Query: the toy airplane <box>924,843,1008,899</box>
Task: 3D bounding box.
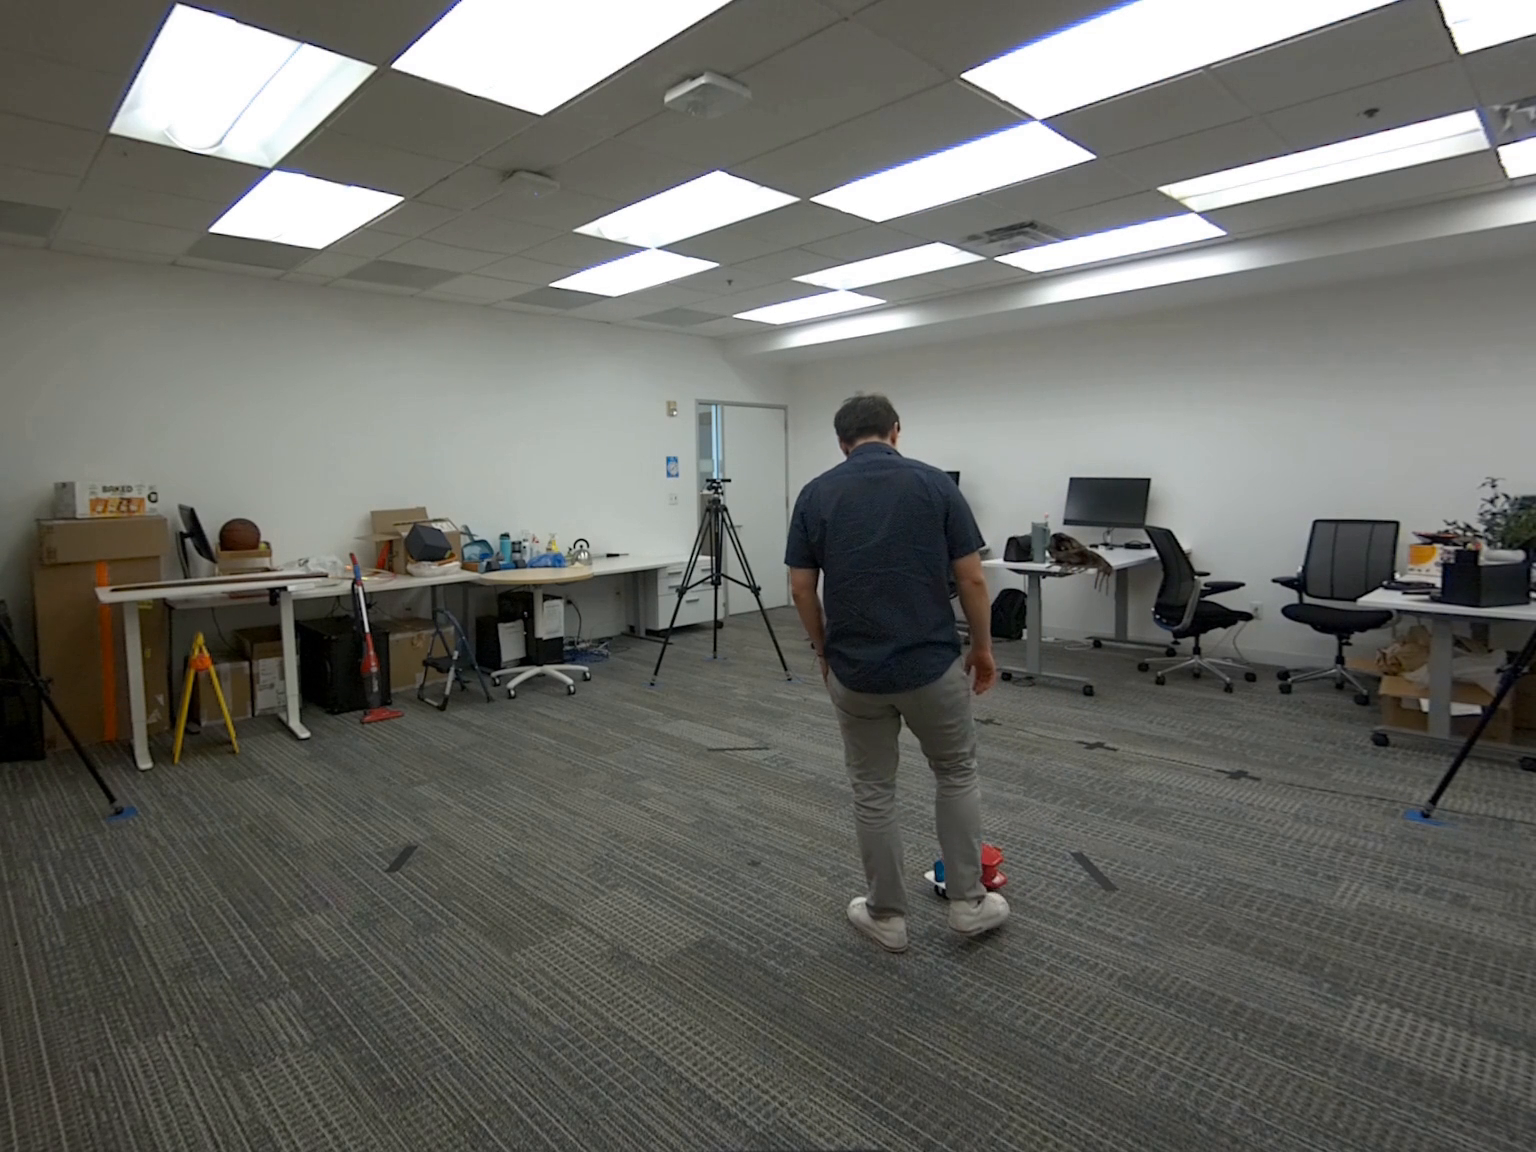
[{"bbox_3d":[0.677,0.986,2.862,0.258,0.156,0.253,3,6,32],"label":"toy airplane"}]
